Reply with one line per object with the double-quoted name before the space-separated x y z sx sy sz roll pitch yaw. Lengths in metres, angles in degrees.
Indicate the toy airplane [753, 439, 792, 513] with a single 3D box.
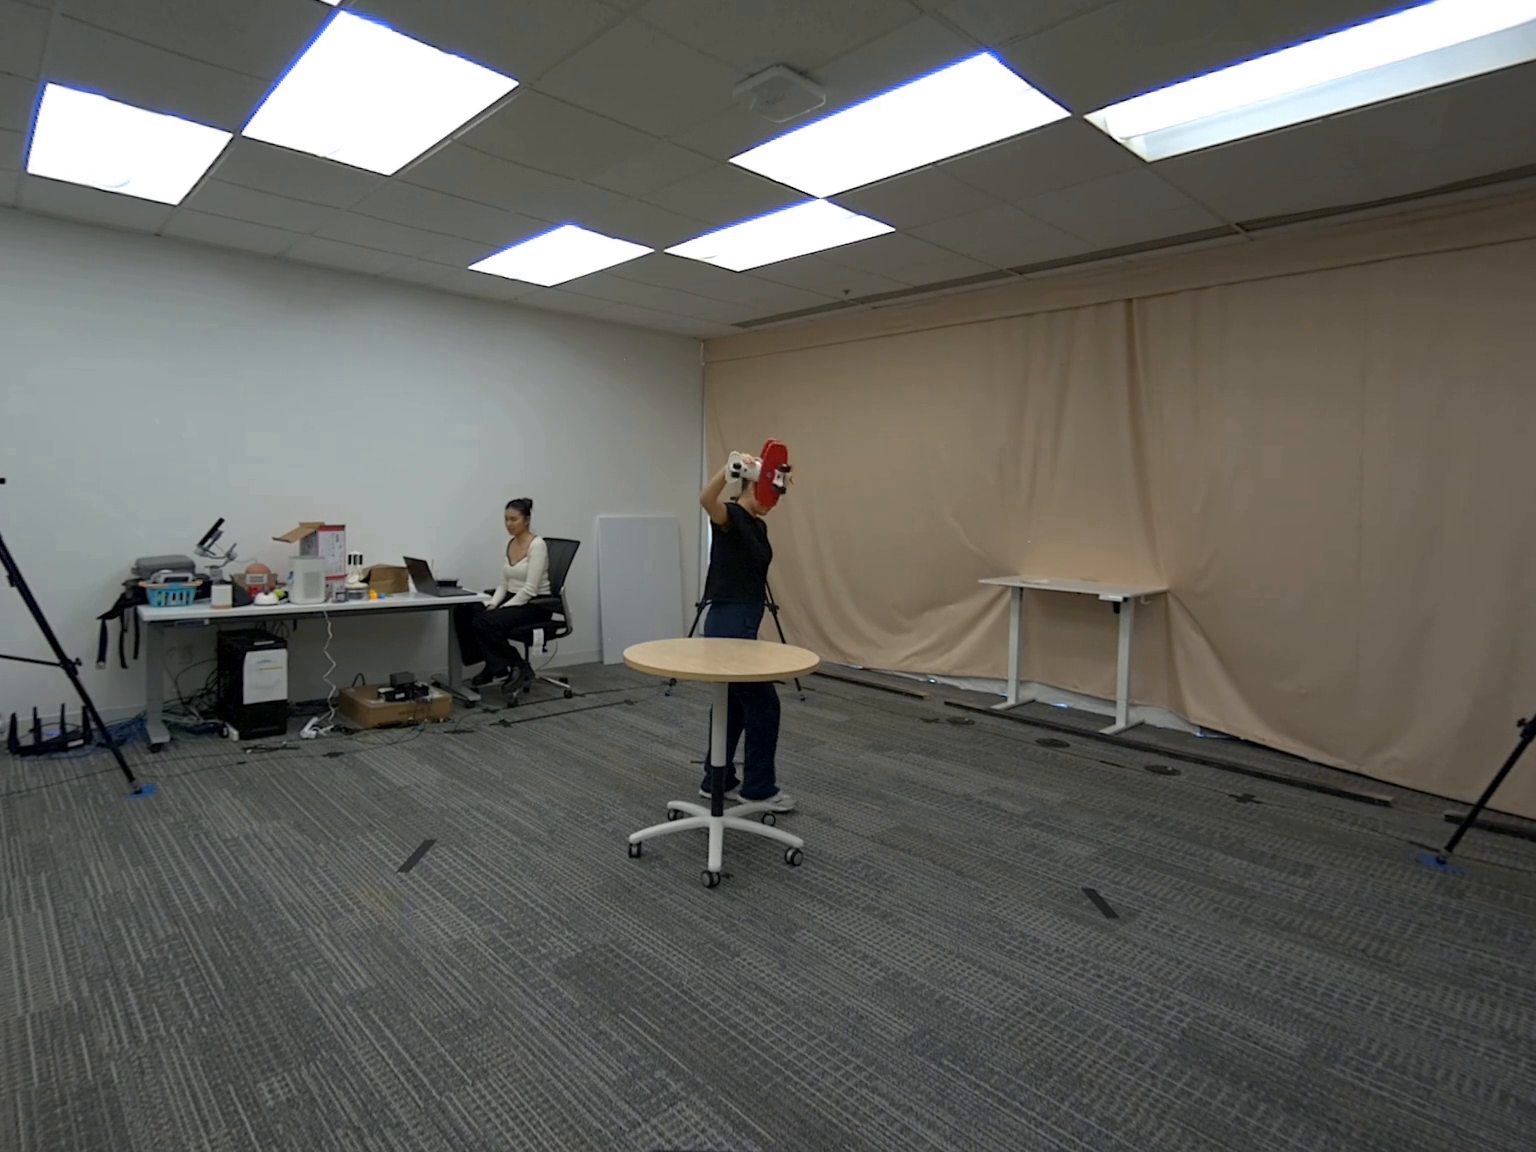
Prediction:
"toy airplane" -0.032 -0.406 3.228 0.257 0.251 0.158 39 14 -7
